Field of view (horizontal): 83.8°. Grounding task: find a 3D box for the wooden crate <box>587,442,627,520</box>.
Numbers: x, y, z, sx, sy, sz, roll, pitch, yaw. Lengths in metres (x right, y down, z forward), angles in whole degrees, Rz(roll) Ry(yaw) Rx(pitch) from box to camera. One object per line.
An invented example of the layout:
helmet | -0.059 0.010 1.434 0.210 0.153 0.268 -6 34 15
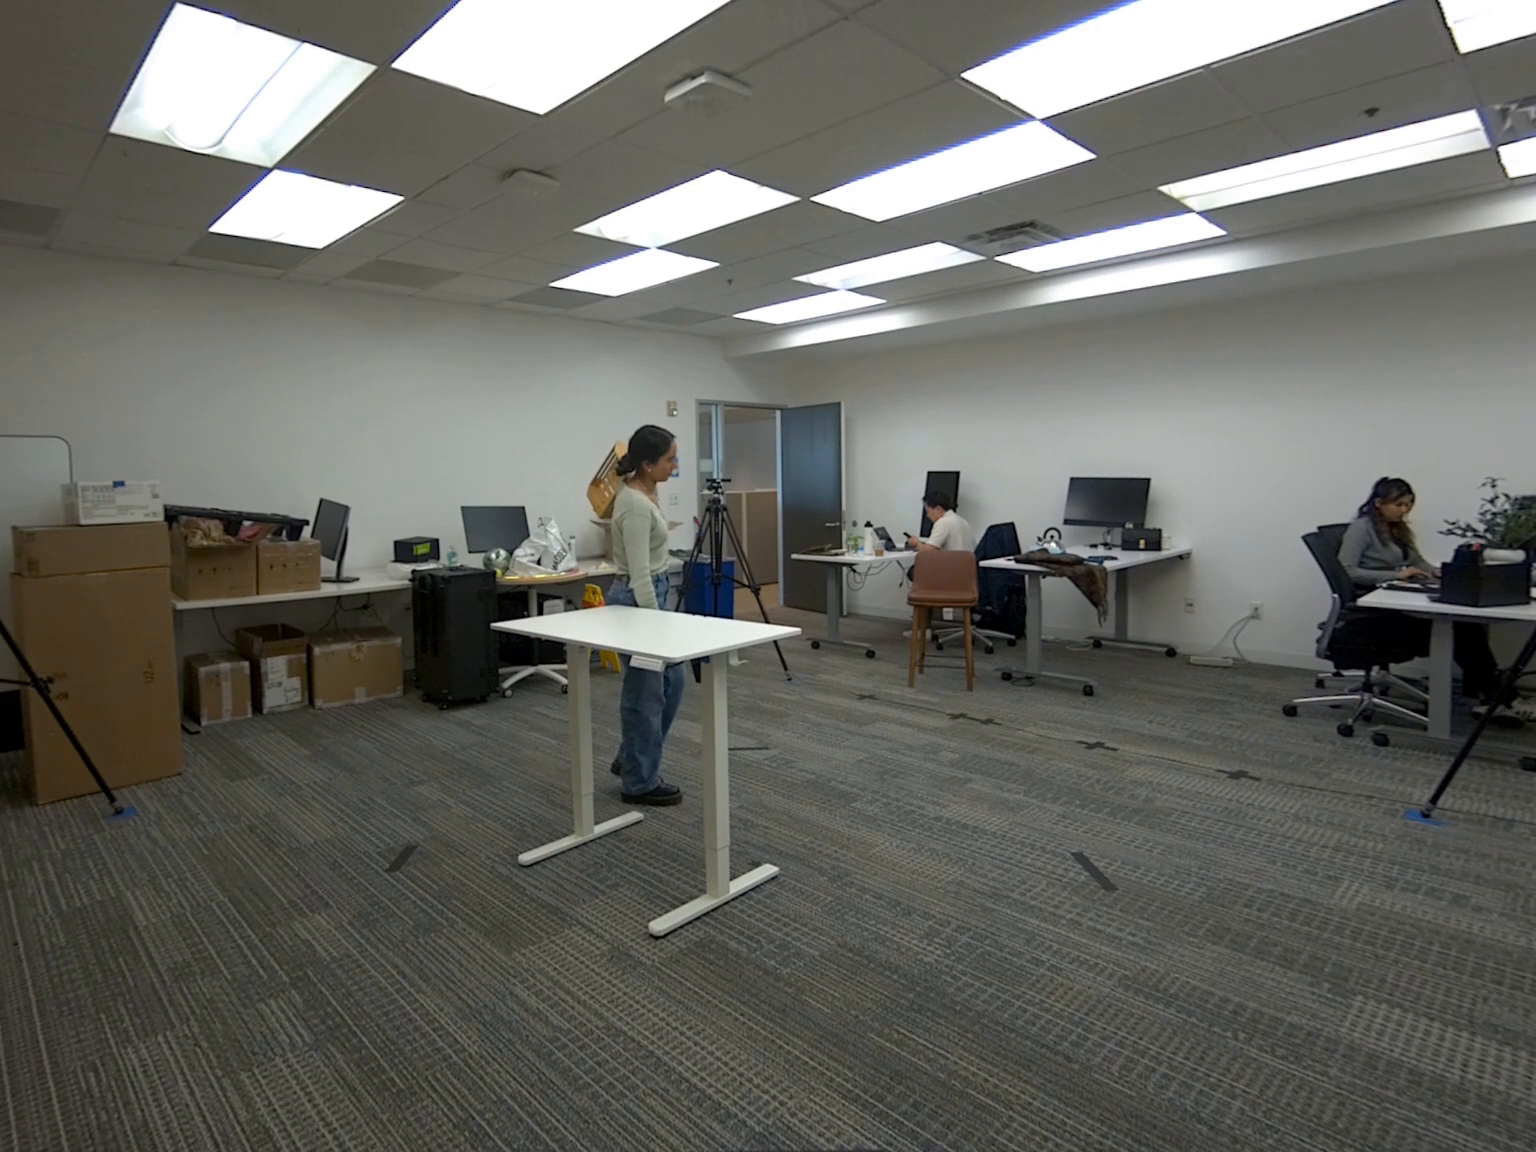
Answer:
wooden crate | -0.676 -0.480 3.992 0.266 0.311 0.323 -6 -36 -45
